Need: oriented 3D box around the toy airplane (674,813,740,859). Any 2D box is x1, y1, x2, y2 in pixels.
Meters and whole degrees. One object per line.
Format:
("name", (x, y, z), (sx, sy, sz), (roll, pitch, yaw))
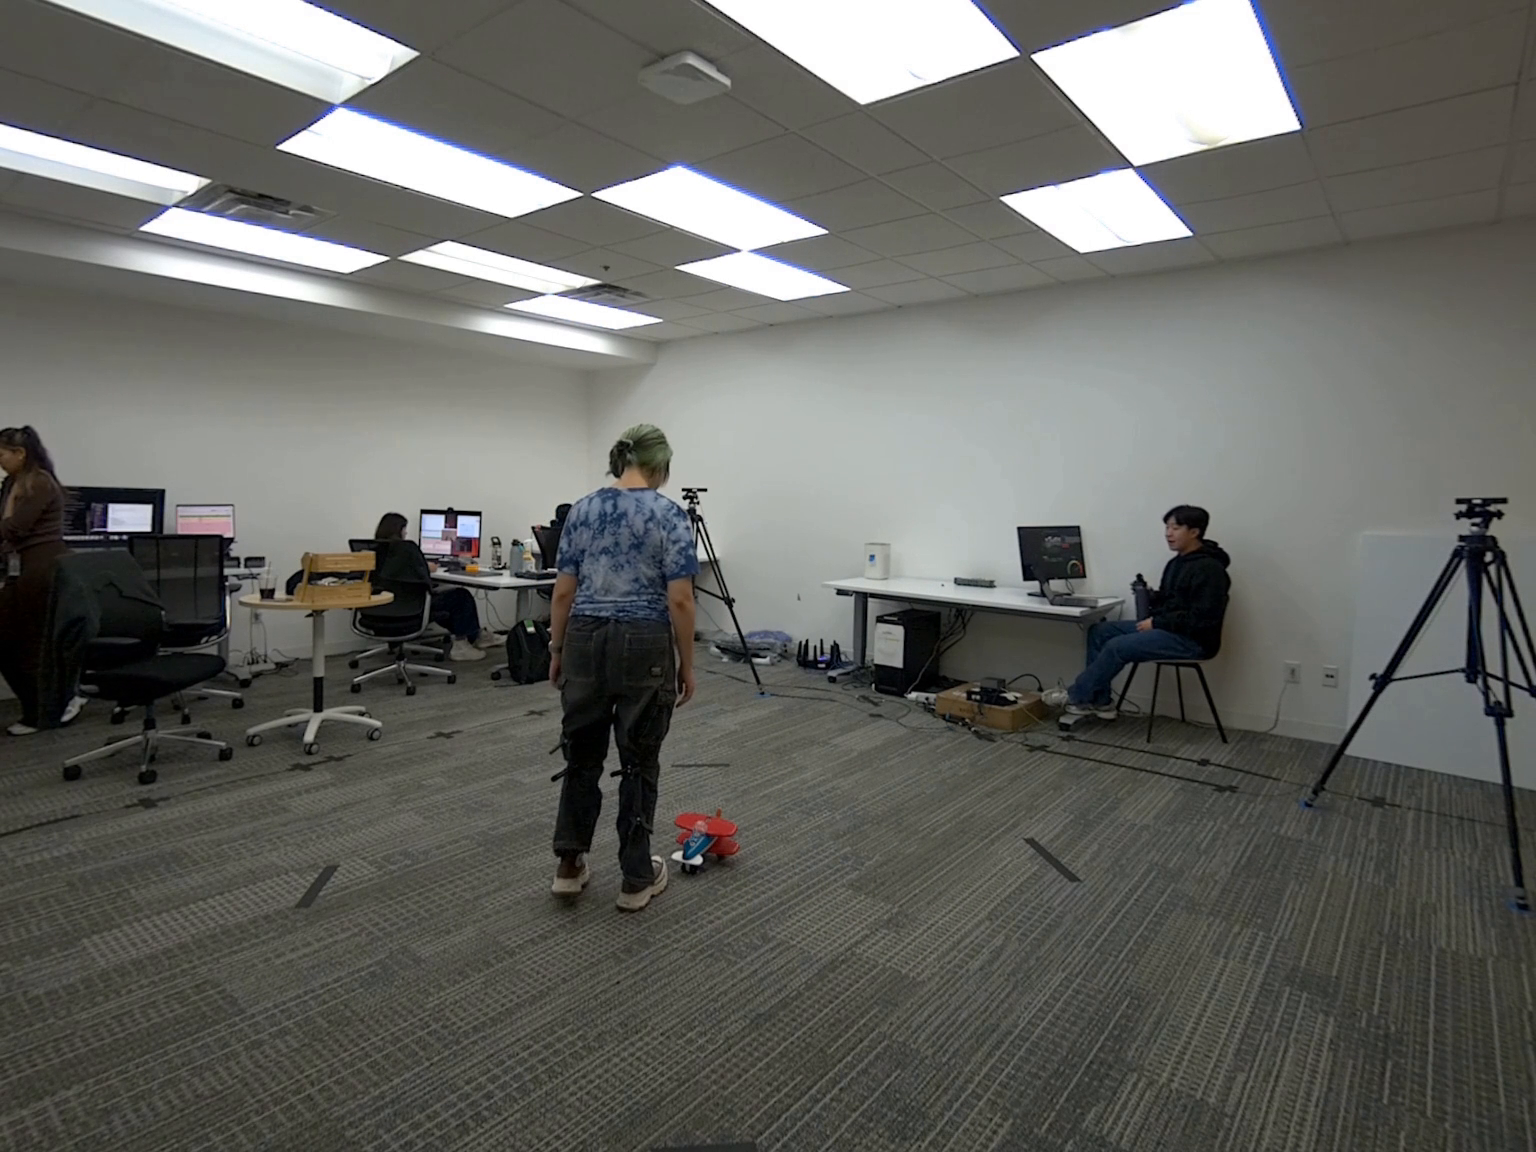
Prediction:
("toy airplane", (-0.238, 0.989, 3.151), (0.251, 0.156, 0.260), (1, 3, -2))
